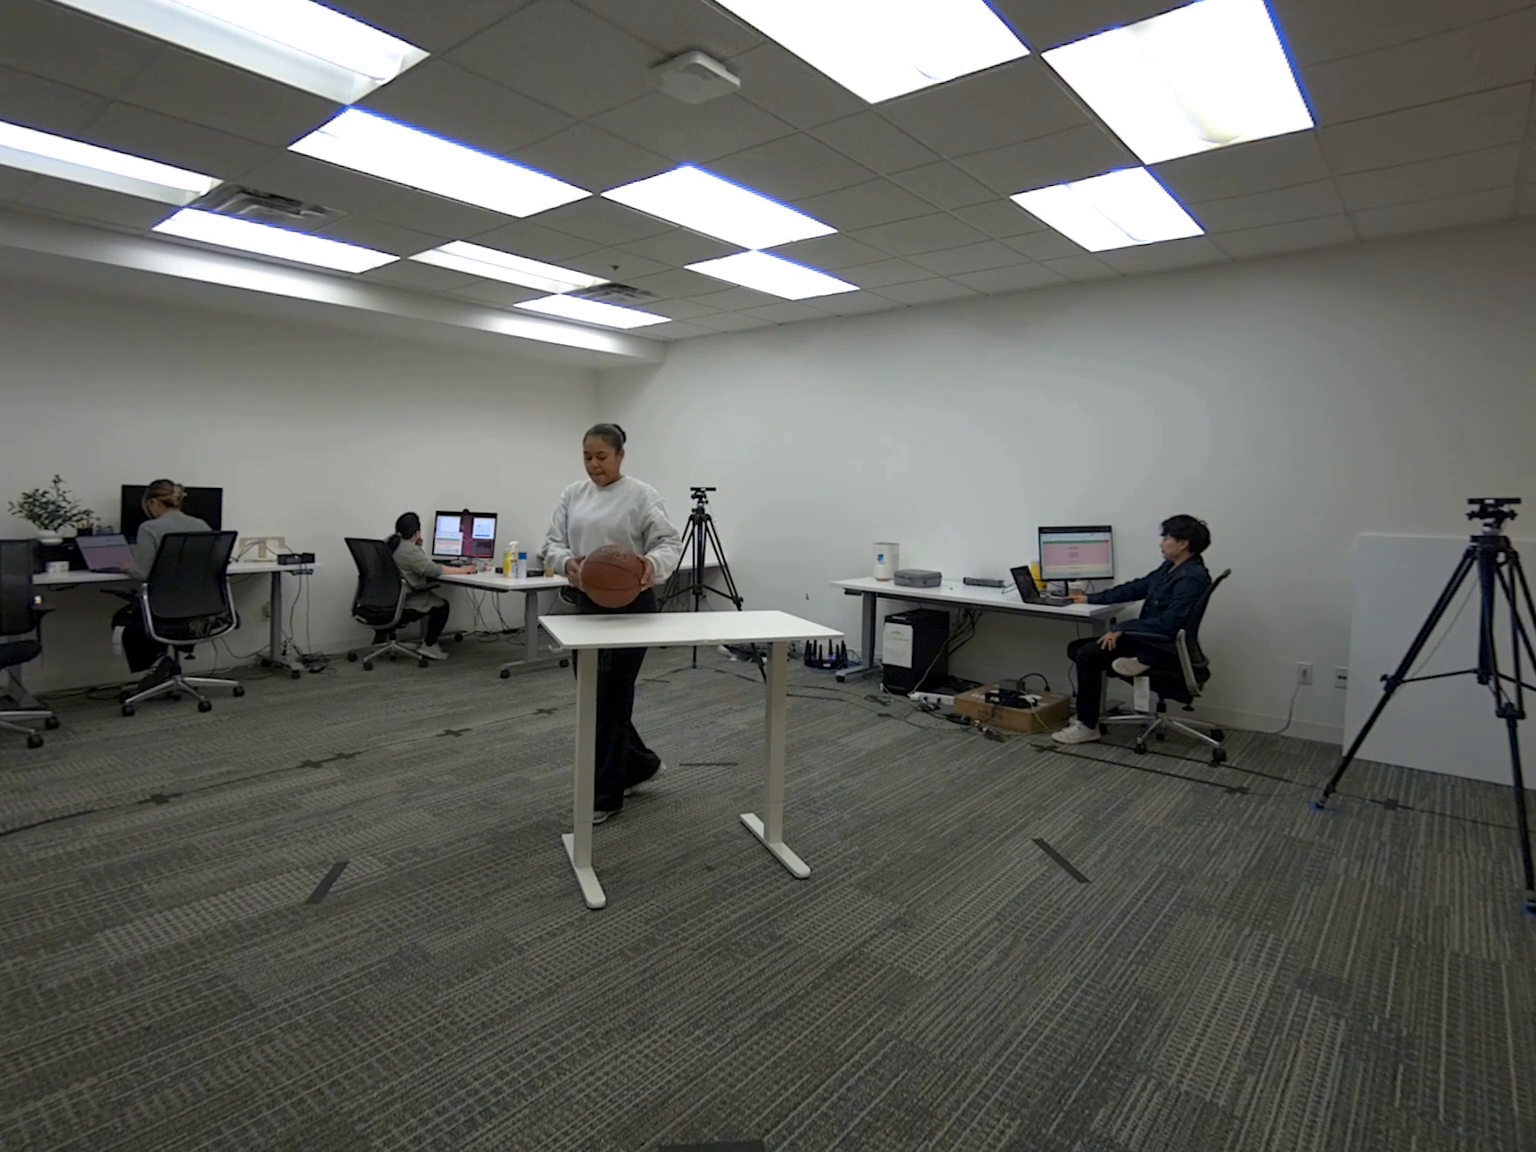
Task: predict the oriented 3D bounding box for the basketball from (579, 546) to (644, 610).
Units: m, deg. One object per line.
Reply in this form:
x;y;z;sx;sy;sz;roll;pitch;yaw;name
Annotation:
-0.608;-0.008;3.252;0.235;0.235;0.237;1;4;-2;basketball
